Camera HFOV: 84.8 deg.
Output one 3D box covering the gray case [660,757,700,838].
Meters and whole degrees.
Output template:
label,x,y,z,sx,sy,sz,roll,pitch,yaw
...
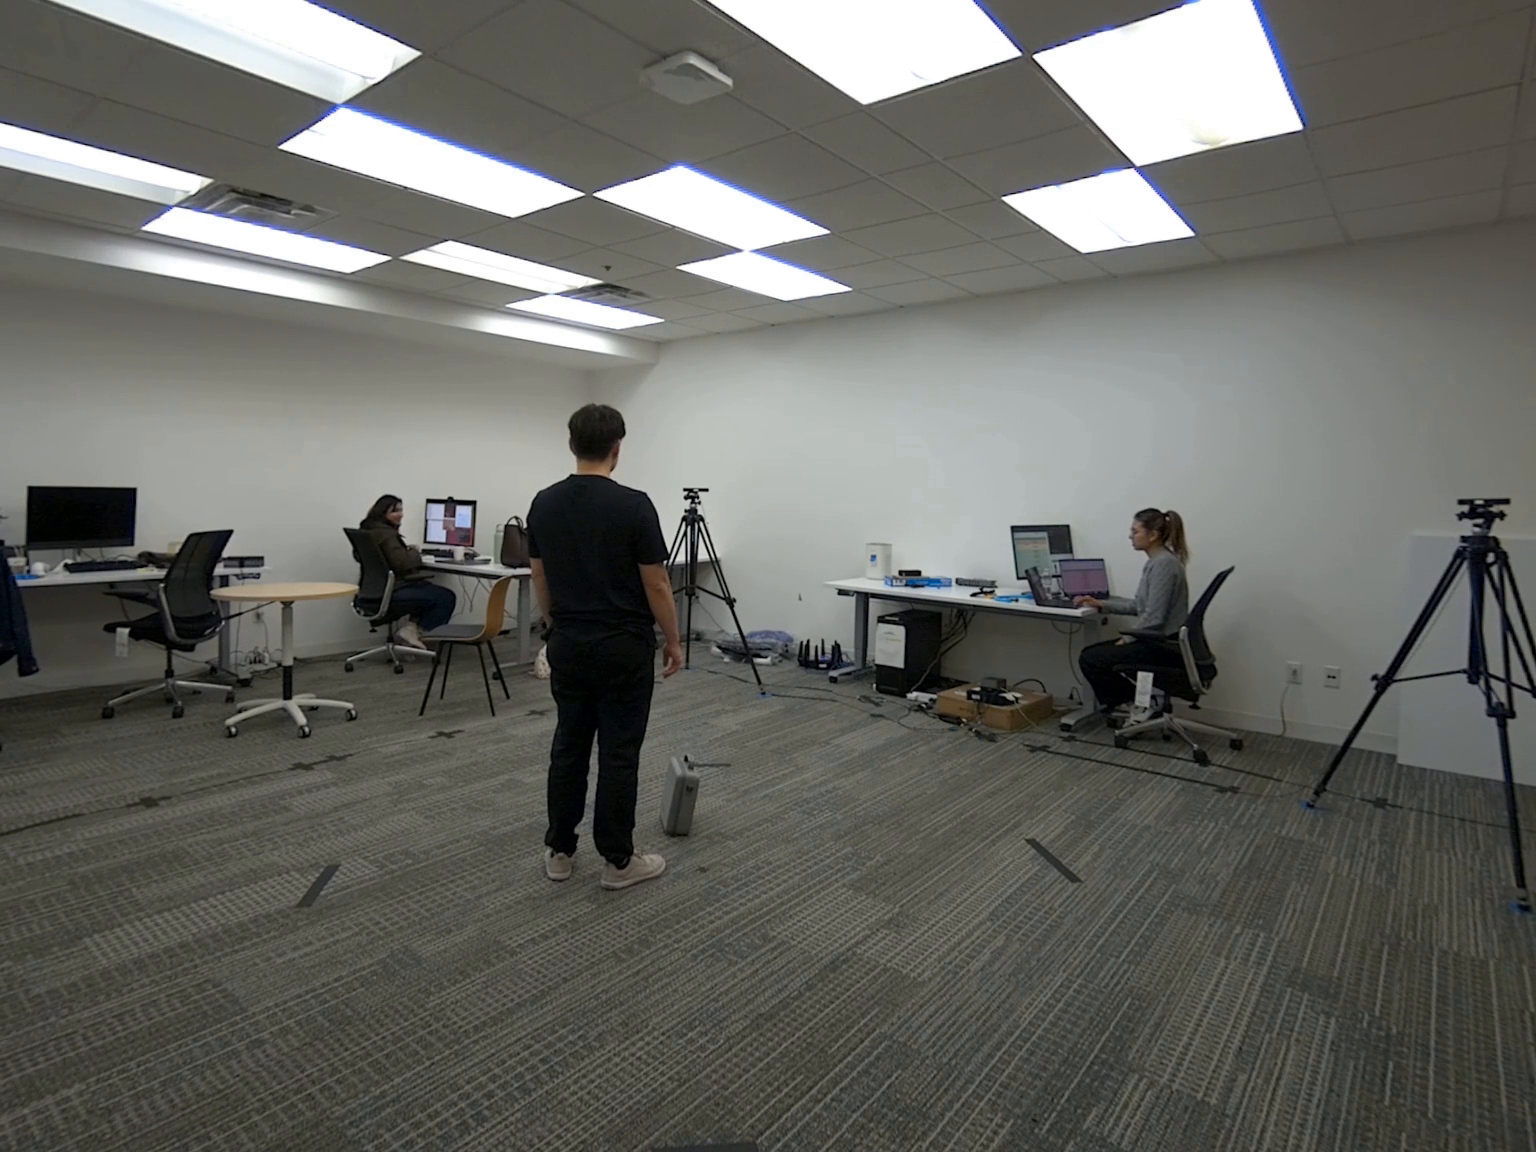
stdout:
label,x,y,z,sx,sy,sz,roll,pitch,yaw
gray case,-0.373,0.893,3.513,0.103,0.260,0.261,9,3,-13
